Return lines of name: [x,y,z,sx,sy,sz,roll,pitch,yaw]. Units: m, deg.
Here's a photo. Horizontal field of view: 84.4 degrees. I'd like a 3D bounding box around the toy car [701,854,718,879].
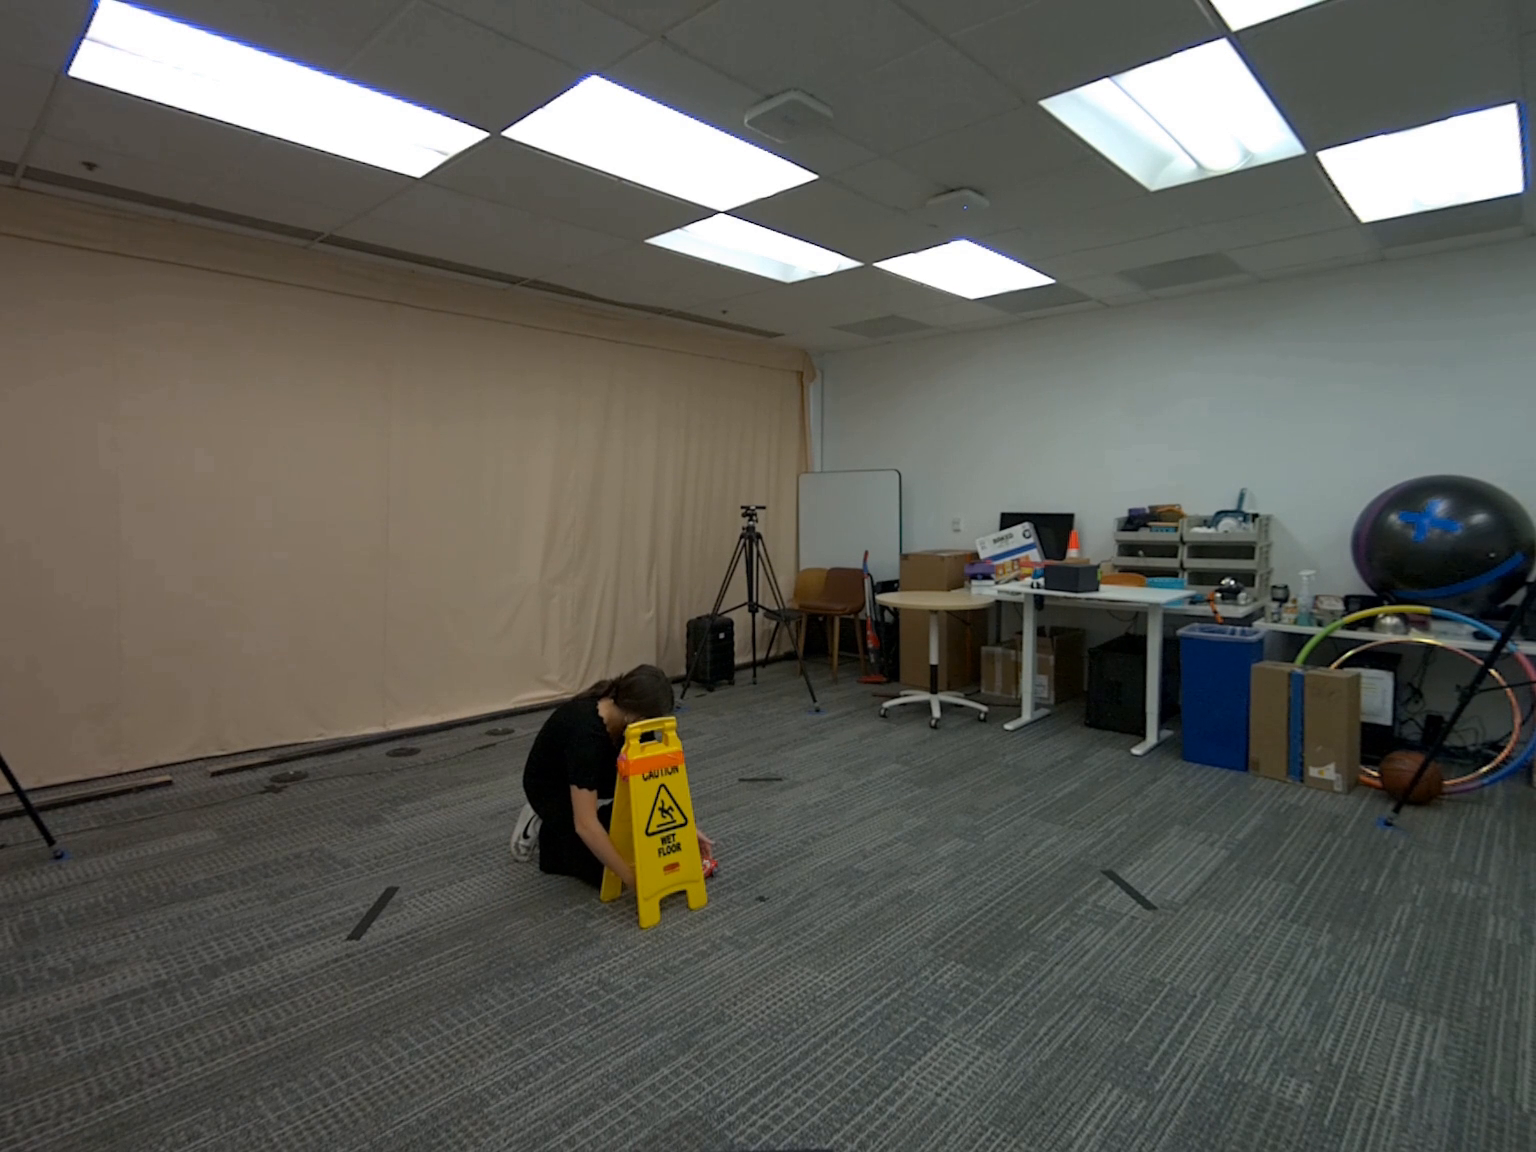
toy car: [-0.295,1.098,3.110,0.134,0.083,0.246,2,-5,34]
